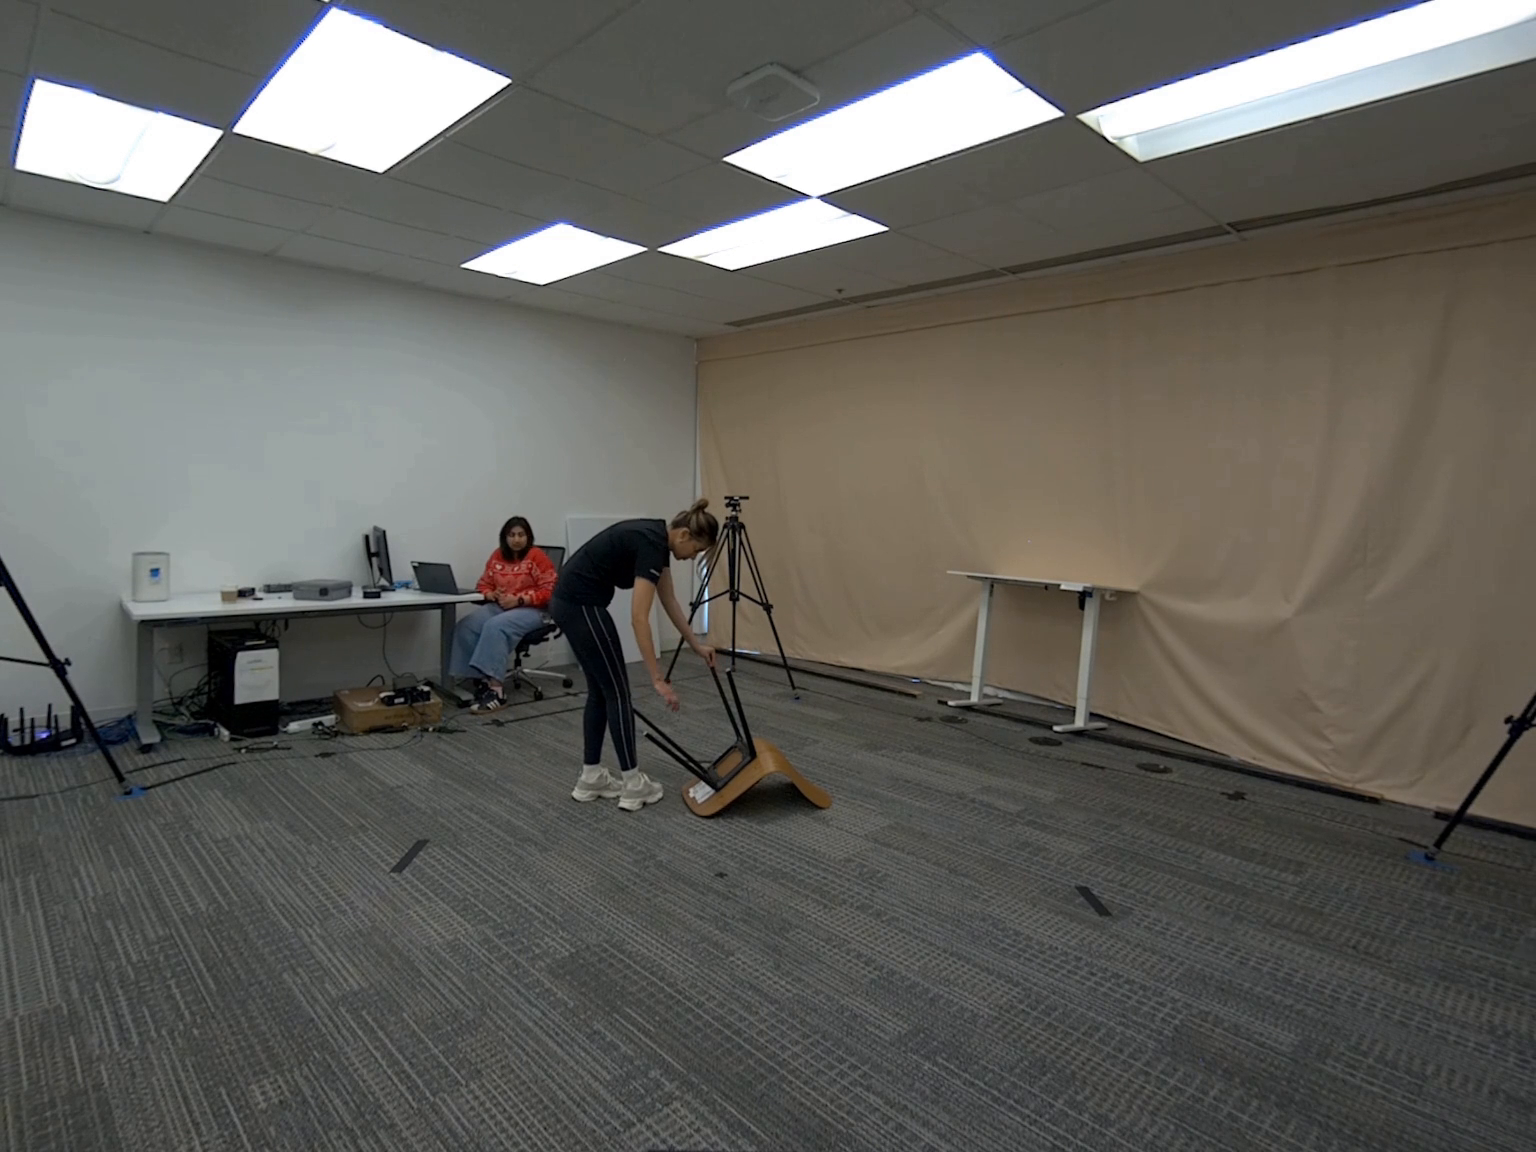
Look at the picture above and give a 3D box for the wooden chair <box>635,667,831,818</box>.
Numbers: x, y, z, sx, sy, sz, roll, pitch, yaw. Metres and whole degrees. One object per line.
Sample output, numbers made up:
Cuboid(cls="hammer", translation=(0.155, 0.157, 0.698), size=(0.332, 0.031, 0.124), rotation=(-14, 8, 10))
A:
Cuboid(cls="wooden chair", translation=(-0.189, 0.865, 3.874), size=(0.522, 0.867, 0.484), rotation=(-40, 12, -9))
